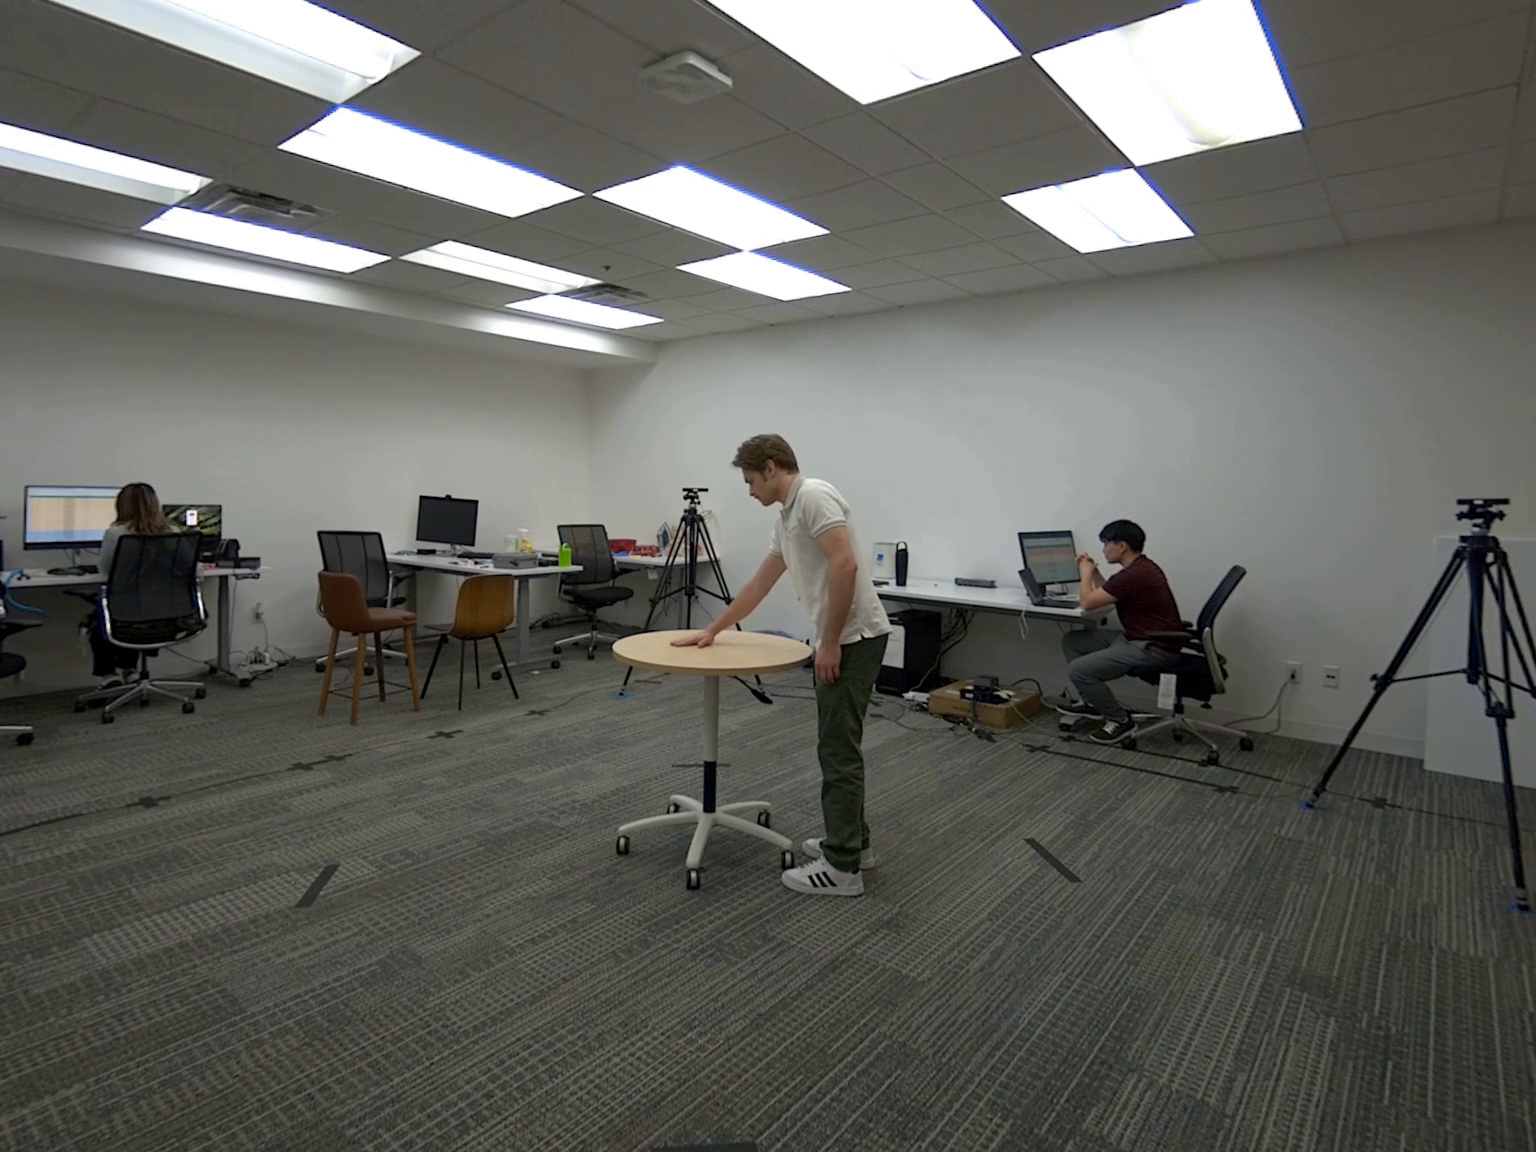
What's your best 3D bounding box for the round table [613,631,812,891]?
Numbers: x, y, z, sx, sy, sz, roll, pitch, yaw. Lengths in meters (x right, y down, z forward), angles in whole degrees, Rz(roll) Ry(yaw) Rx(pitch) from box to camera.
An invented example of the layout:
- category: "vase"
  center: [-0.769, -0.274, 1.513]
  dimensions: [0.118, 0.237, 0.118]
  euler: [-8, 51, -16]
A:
- category: "round table"
  center: [-0.240, 0.656, 3.305]
  dimensions: [0.784, 0.784, 0.789]
  euler: [1, 4, -2]
